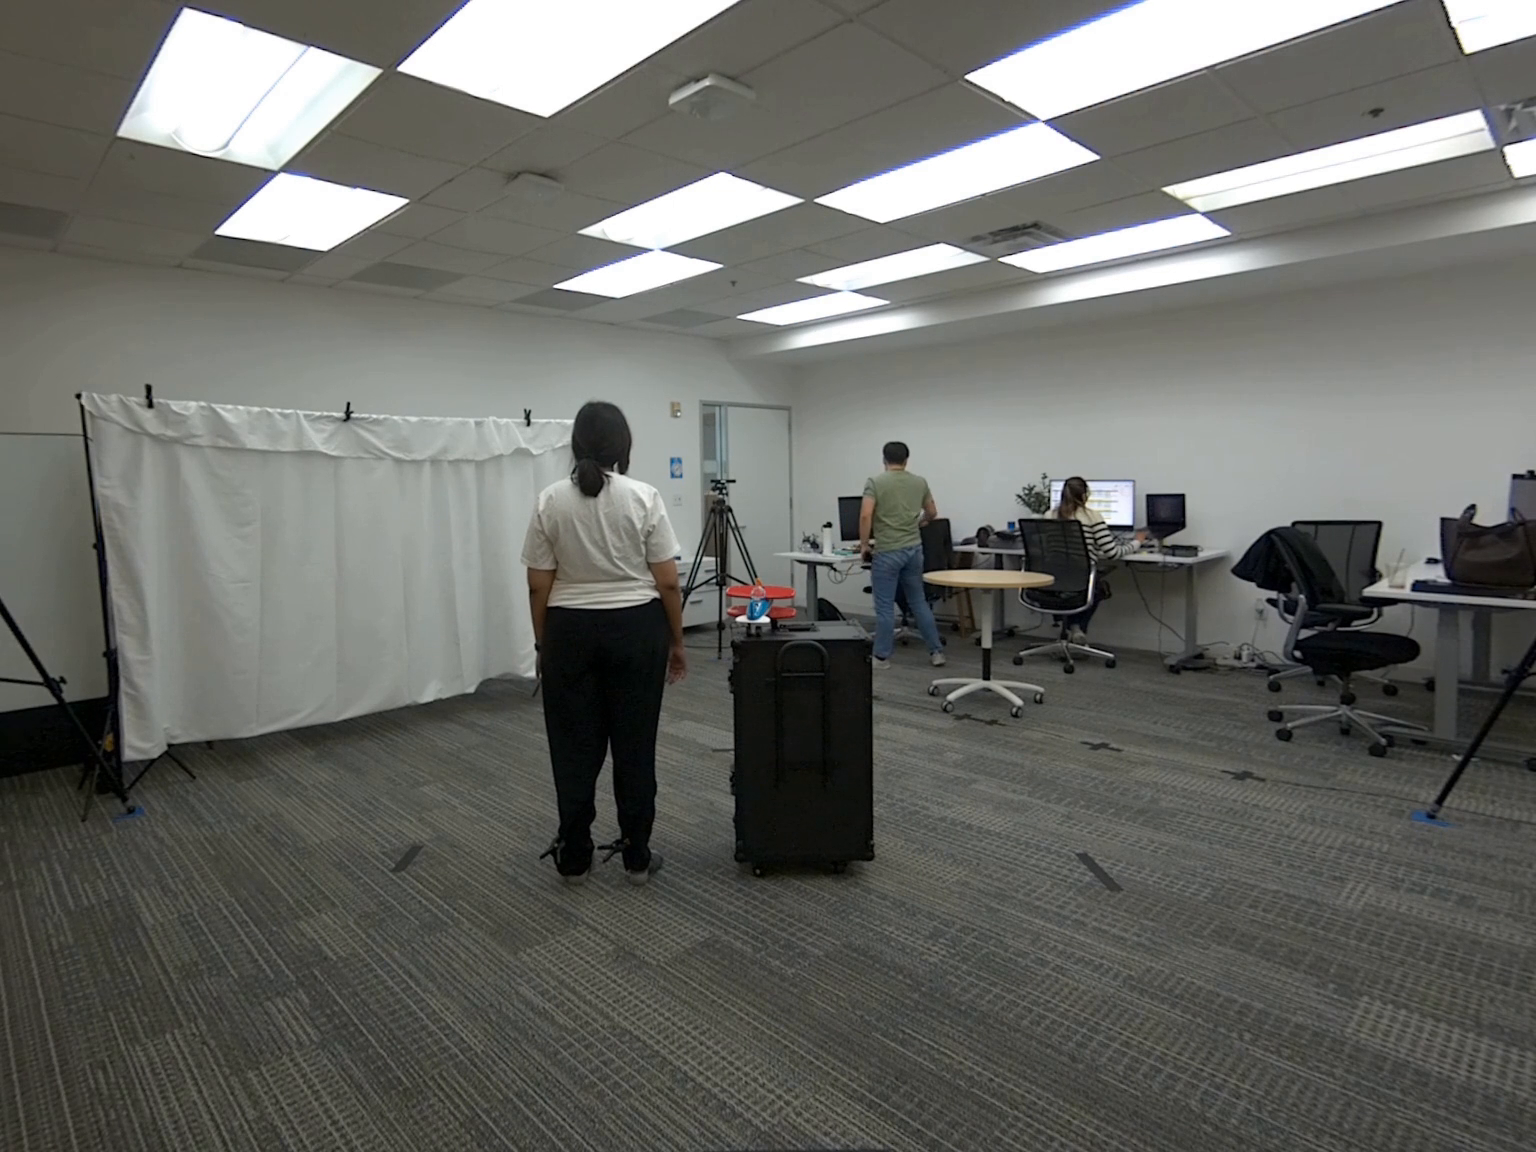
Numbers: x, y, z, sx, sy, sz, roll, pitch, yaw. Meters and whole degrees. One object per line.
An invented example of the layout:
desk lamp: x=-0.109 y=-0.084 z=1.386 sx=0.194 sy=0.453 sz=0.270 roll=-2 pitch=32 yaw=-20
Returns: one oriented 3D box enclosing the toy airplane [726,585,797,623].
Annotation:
toy airplane: x=-0.018 y=0.120 z=3.083 sx=0.248 sy=0.155 sz=0.264 roll=-2 pitch=7 yaw=-15
